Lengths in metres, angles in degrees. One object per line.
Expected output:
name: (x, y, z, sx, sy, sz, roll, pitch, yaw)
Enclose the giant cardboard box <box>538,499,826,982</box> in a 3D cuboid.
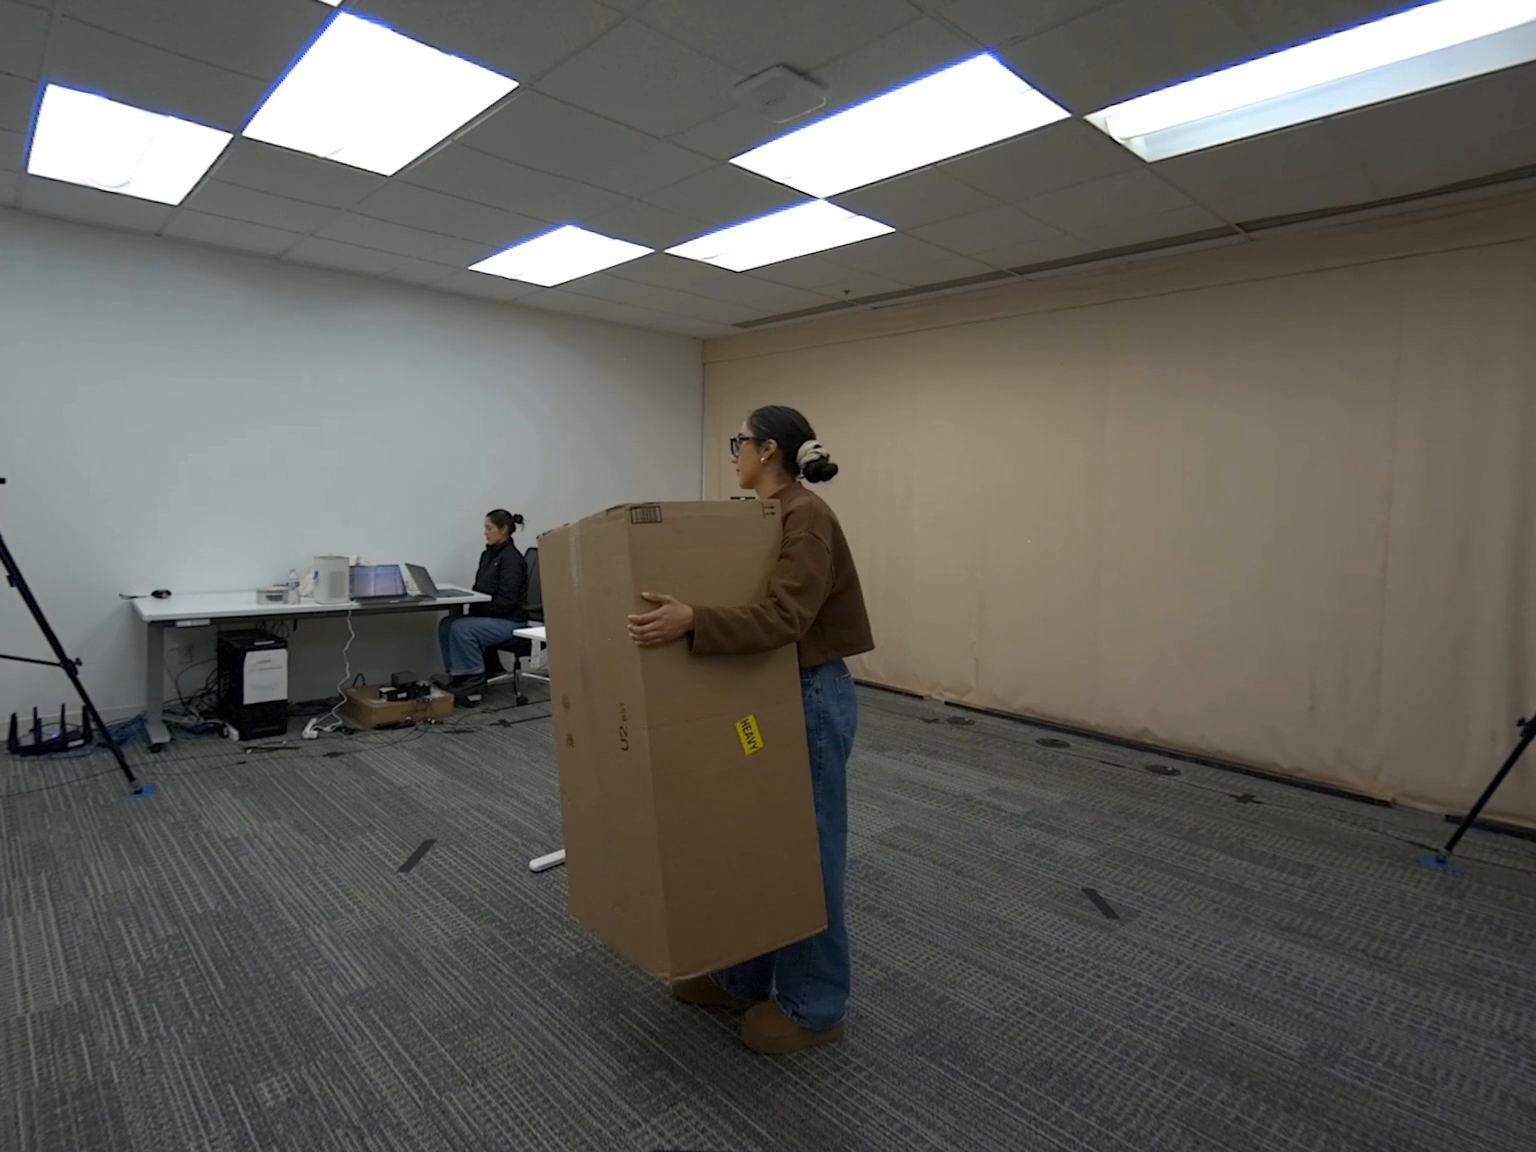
giant cardboard box: (-0.257, 0.357, 2.135, 0.417, 1.029, 0.588, -2, -5, -34)
